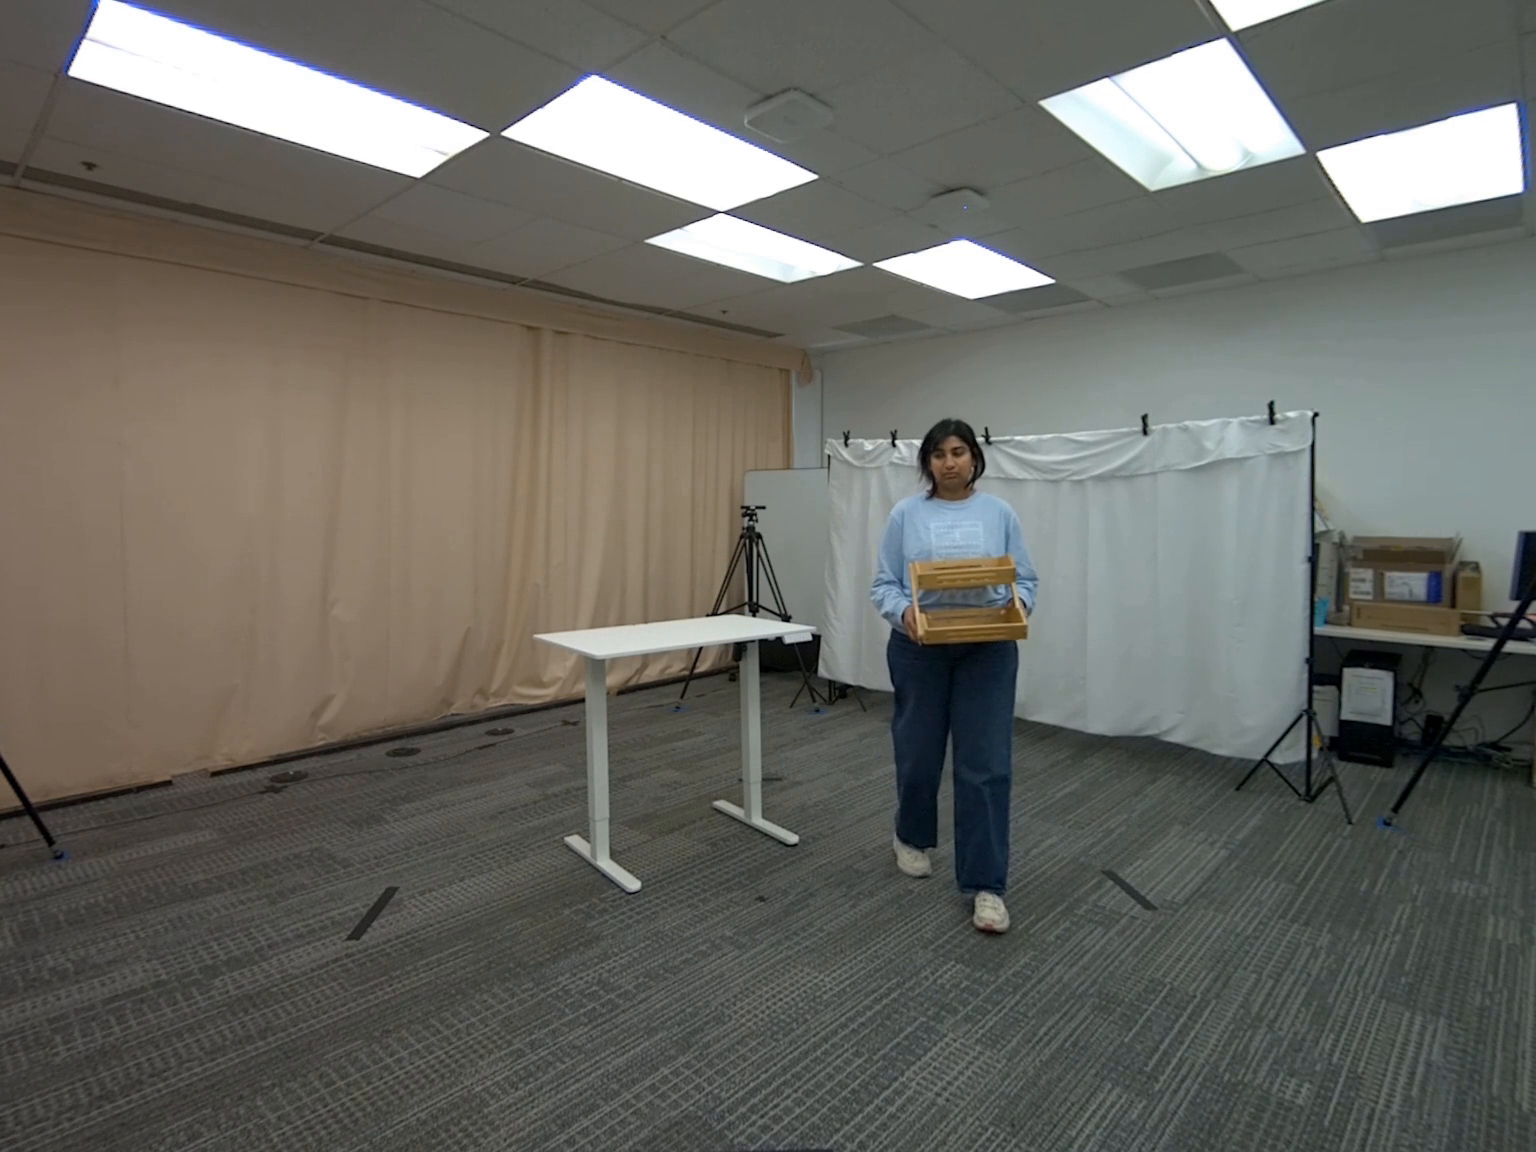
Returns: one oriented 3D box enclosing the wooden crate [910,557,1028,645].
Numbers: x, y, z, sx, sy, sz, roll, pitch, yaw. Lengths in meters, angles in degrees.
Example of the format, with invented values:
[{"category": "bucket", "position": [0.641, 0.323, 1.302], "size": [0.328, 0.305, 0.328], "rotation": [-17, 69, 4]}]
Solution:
[{"category": "wooden crate", "position": [0.652, 0.071, 2.707], "size": [0.327, 0.274, 0.299], "rotation": [-3, -2, 7]}]
